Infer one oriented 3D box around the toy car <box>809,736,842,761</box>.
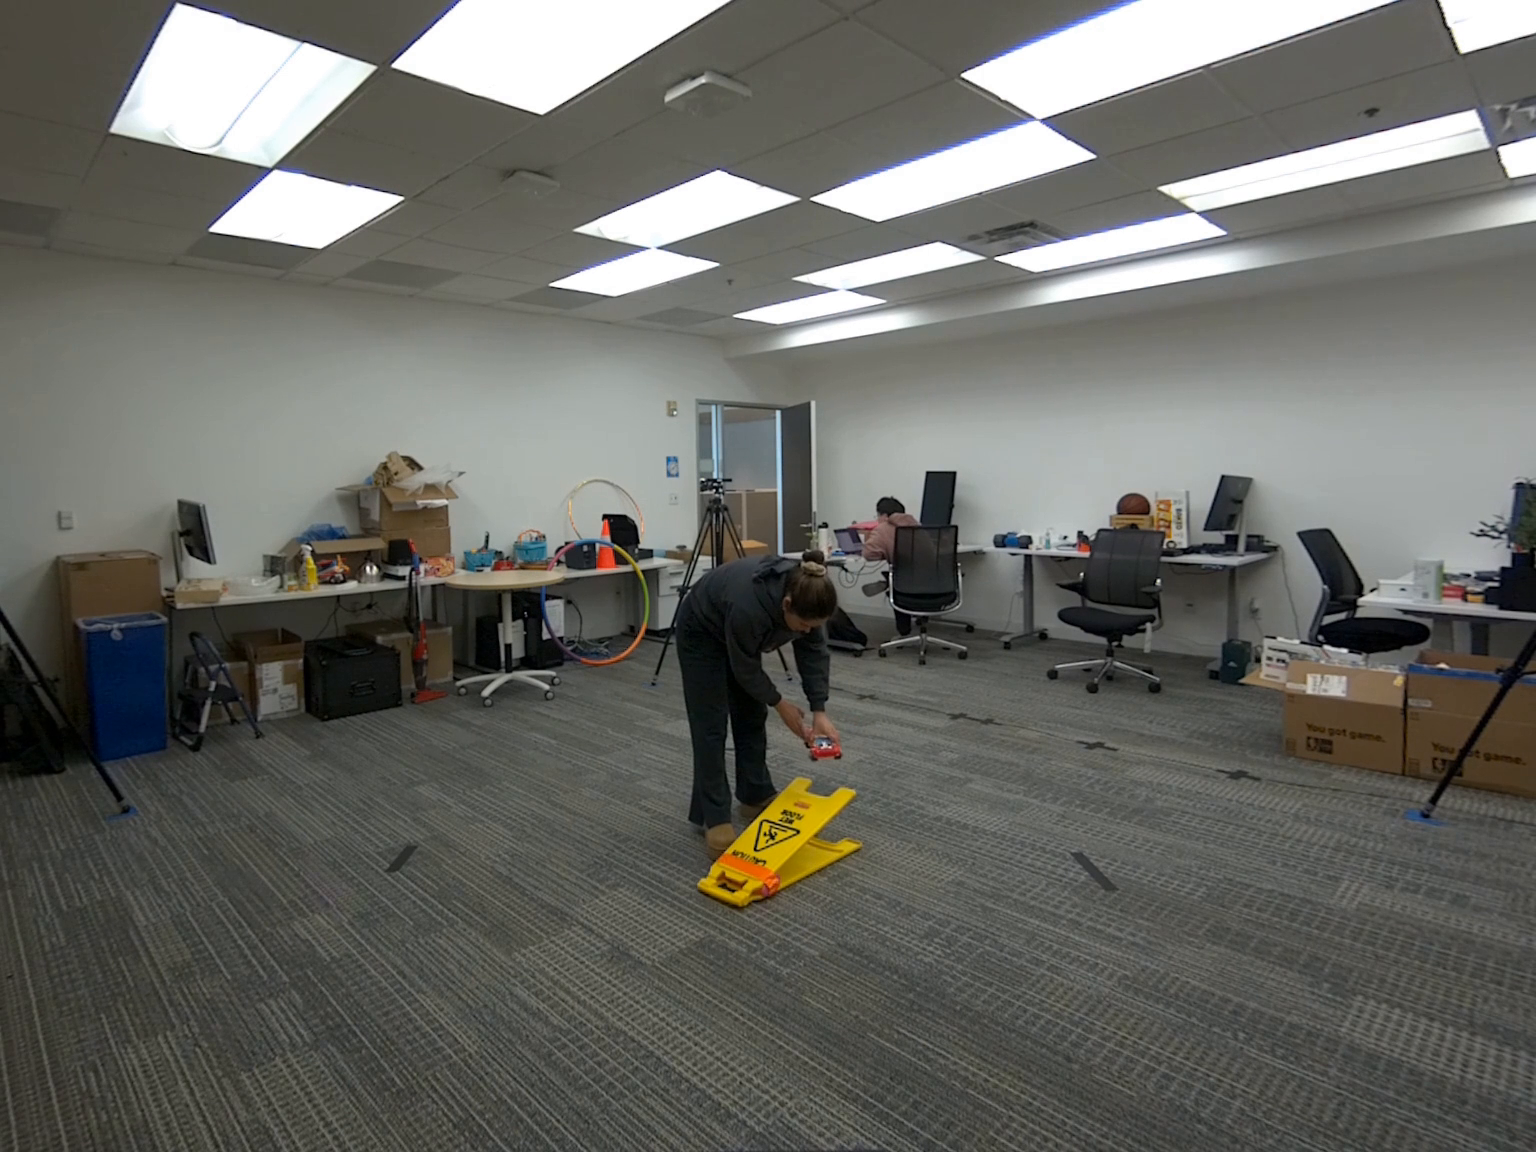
[{"bbox_3d":[0.214,0.651,3.288,0.130,0.082,0.259,-4,18,-3],"label":"toy car"}]
